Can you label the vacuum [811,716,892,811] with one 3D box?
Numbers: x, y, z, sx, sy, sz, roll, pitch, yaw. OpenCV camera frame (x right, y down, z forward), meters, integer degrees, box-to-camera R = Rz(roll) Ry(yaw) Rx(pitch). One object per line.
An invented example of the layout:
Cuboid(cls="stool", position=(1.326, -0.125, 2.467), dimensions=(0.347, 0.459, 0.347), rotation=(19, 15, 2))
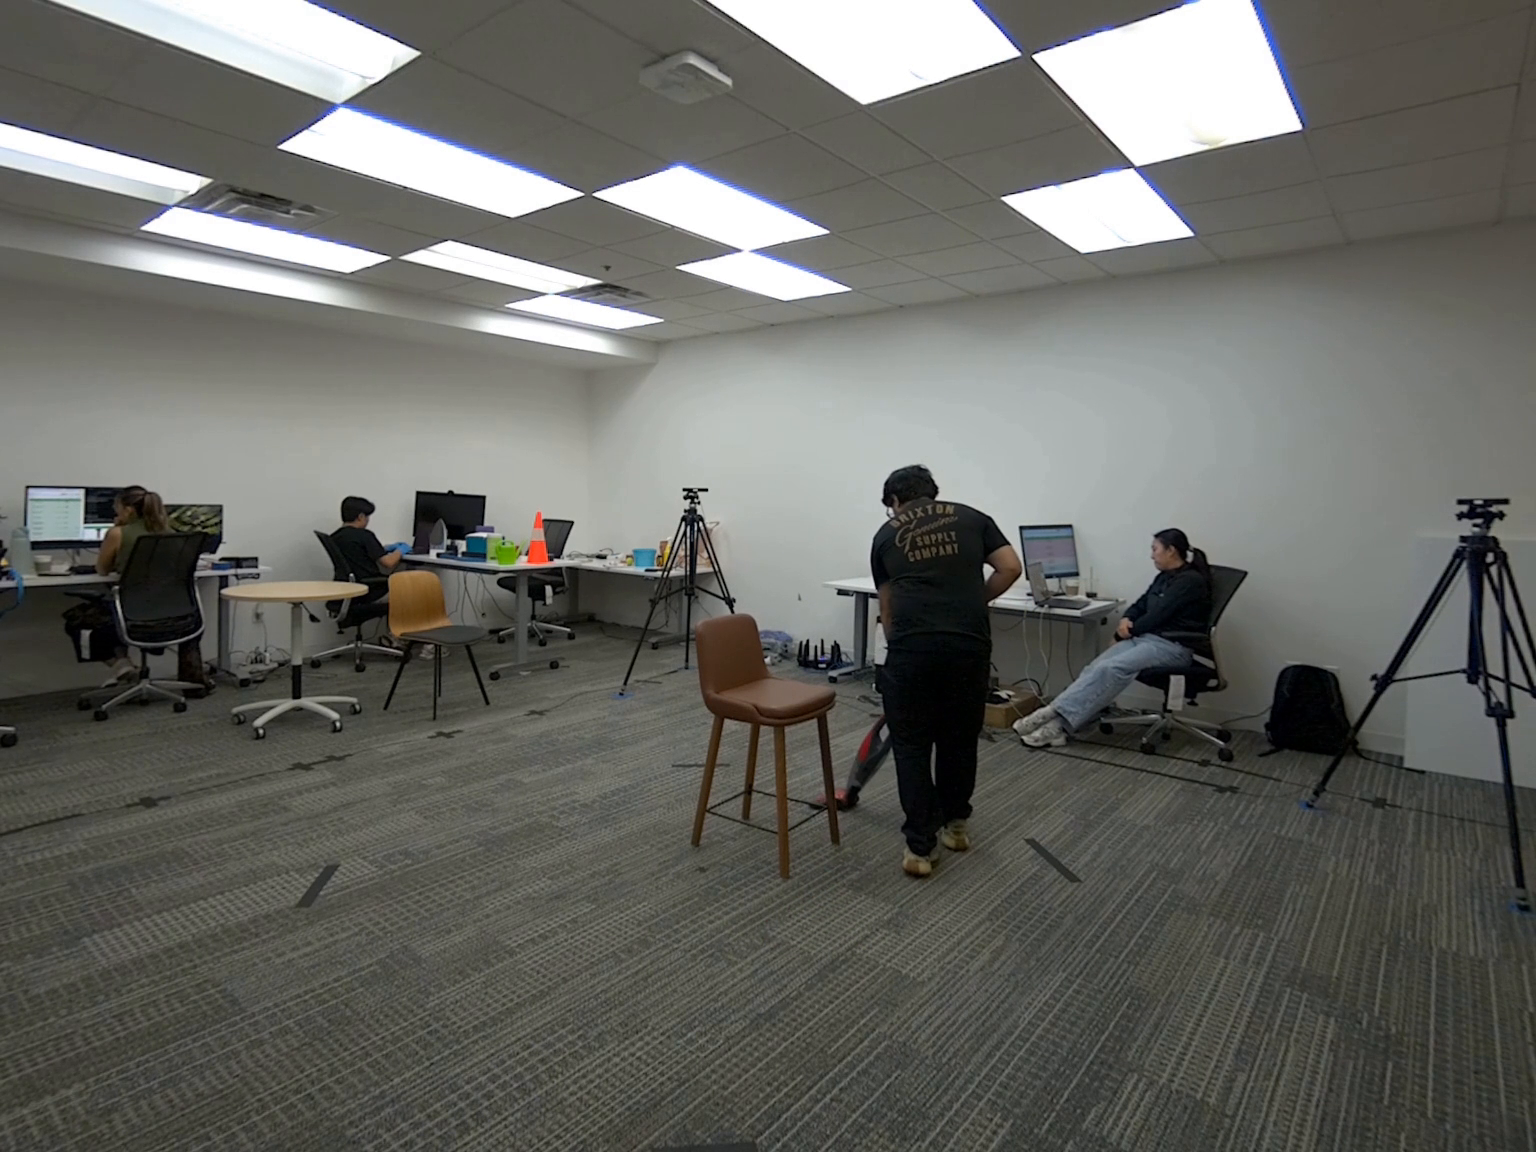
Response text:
Cuboid(cls="vacuum", position=(0.532, 0.596, 3.597), dimensions=(0.245, 1.041, 0.149), rotation=(-1, 38, -50))
